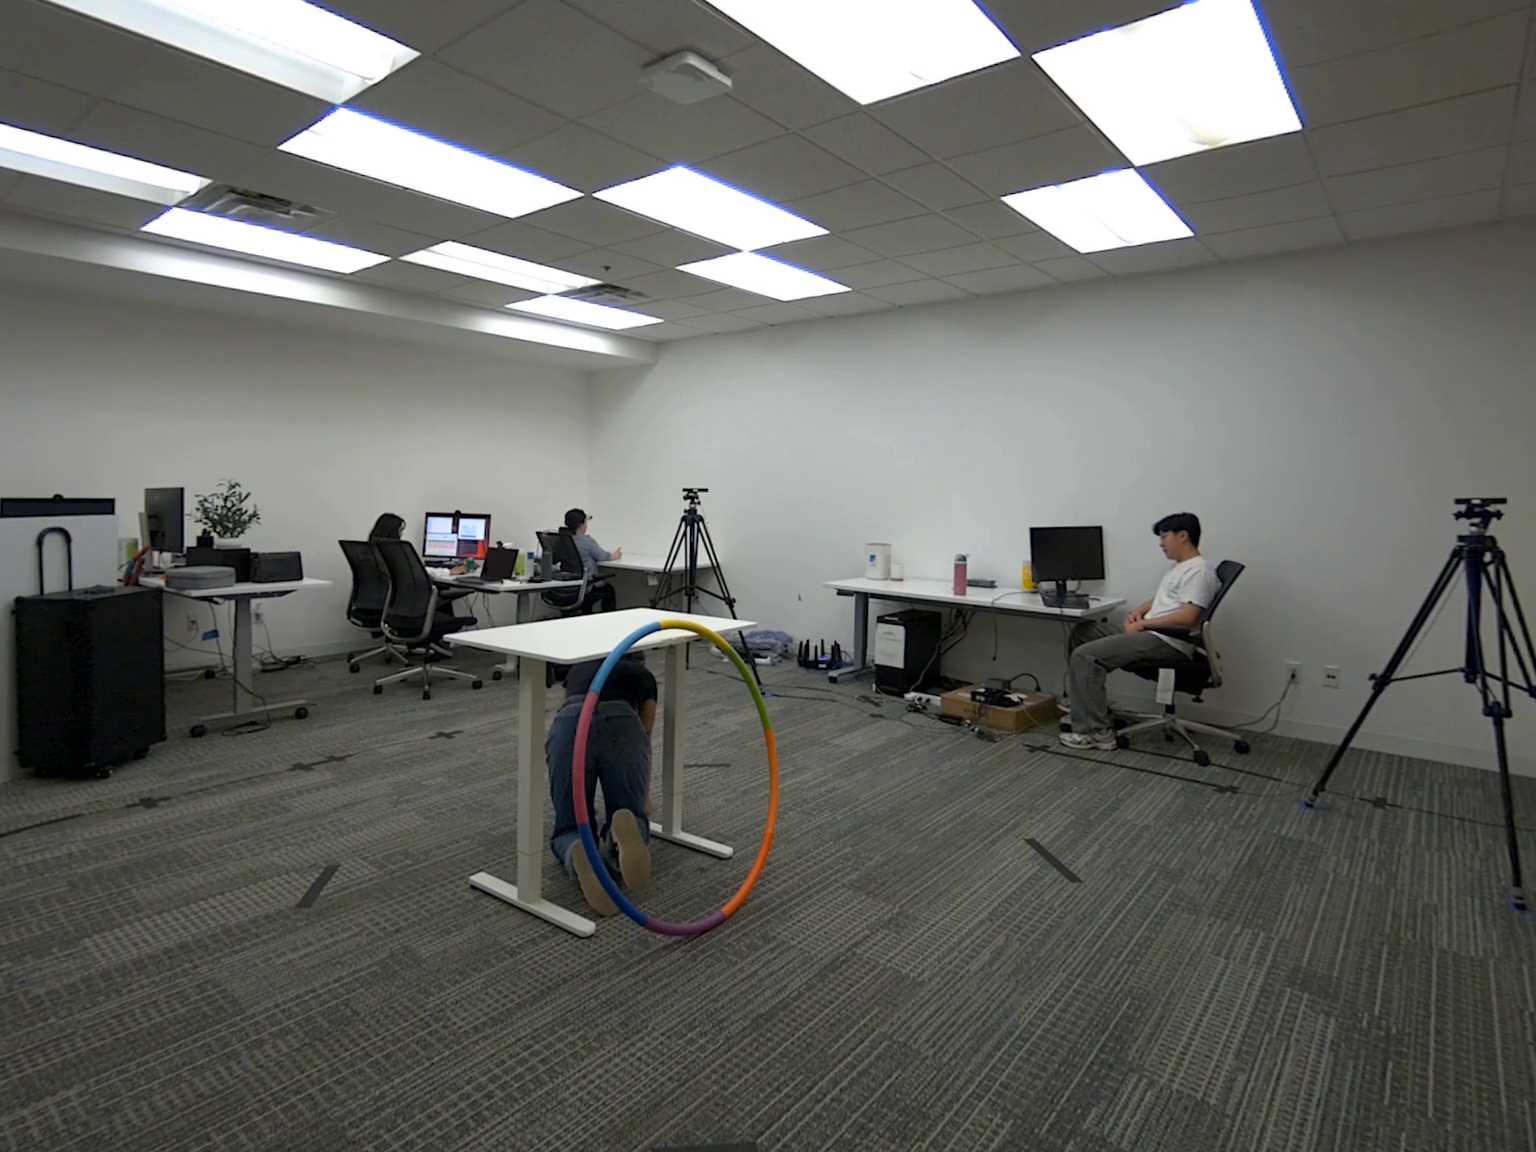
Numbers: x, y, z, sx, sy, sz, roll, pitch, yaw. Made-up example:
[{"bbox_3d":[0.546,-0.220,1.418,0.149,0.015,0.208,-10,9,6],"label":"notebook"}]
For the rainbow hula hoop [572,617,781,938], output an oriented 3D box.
[{"bbox_3d":[-0.253,0.626,2.763,0.036,0.985,0.951,-15,-6,35],"label":"rainbow hula hoop"}]
